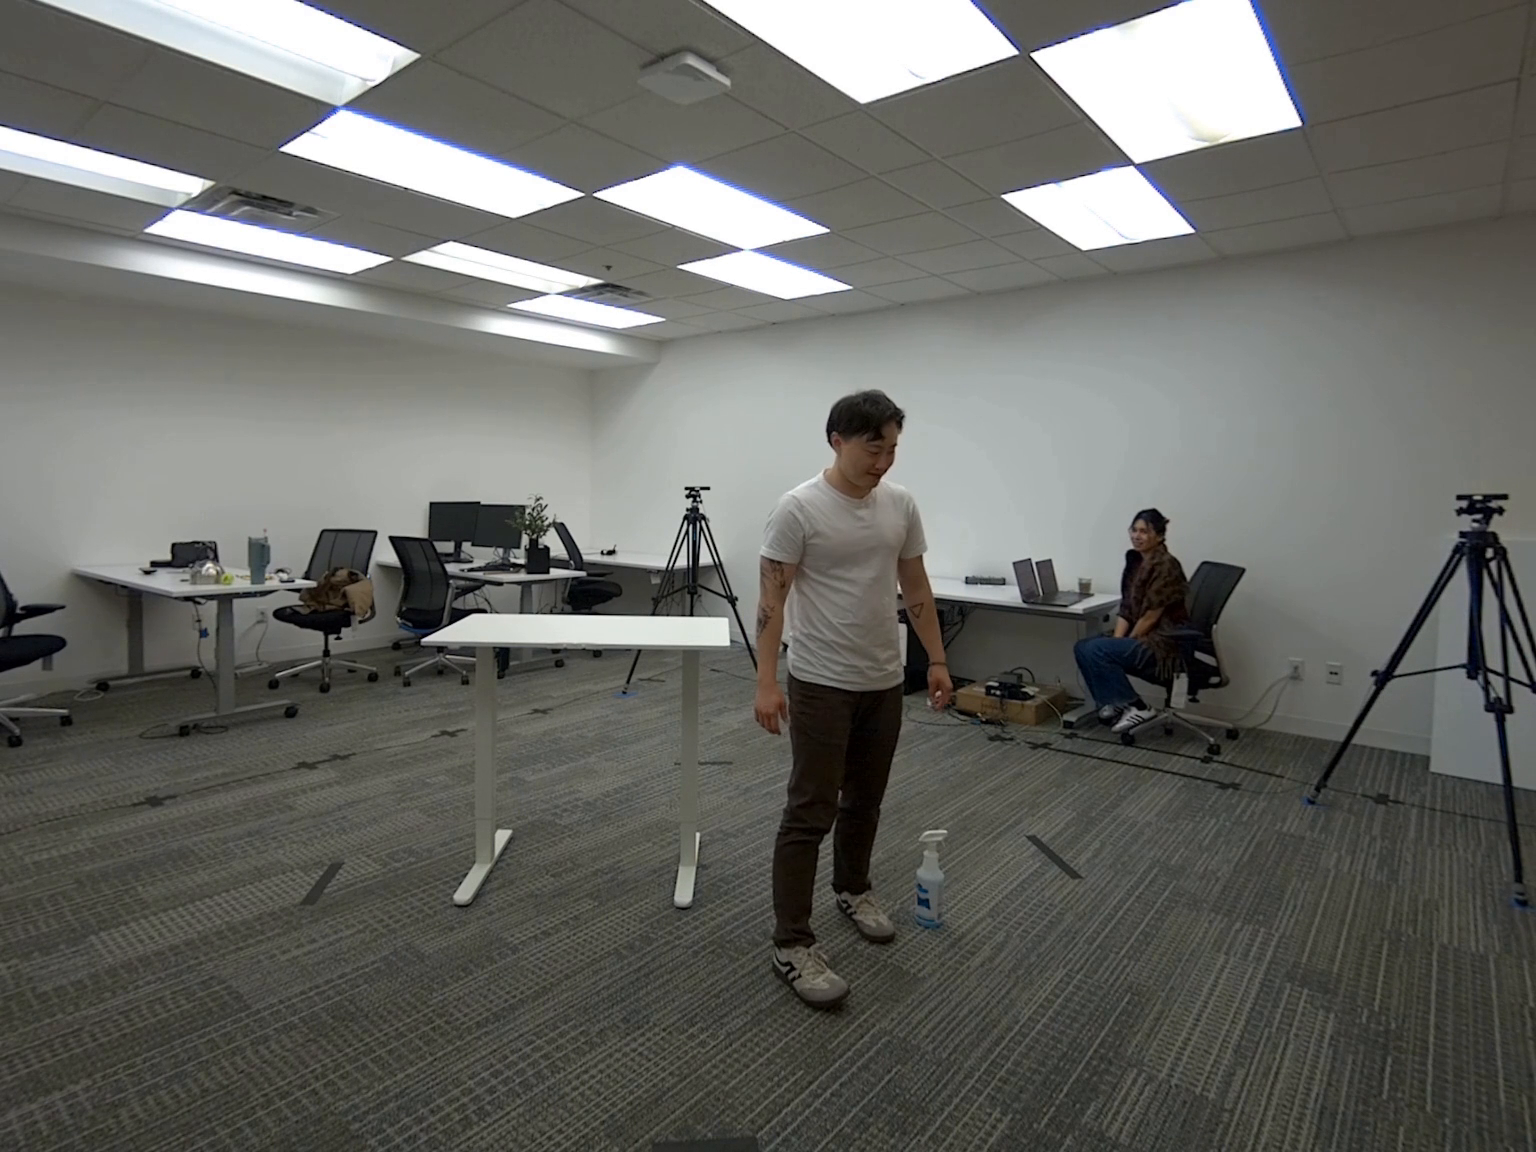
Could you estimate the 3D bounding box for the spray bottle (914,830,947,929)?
[{"bbox_3d":[0.522,0.977,2.744,0.092,0.297,0.085,3,2,17],"label":"spray bottle"}]
